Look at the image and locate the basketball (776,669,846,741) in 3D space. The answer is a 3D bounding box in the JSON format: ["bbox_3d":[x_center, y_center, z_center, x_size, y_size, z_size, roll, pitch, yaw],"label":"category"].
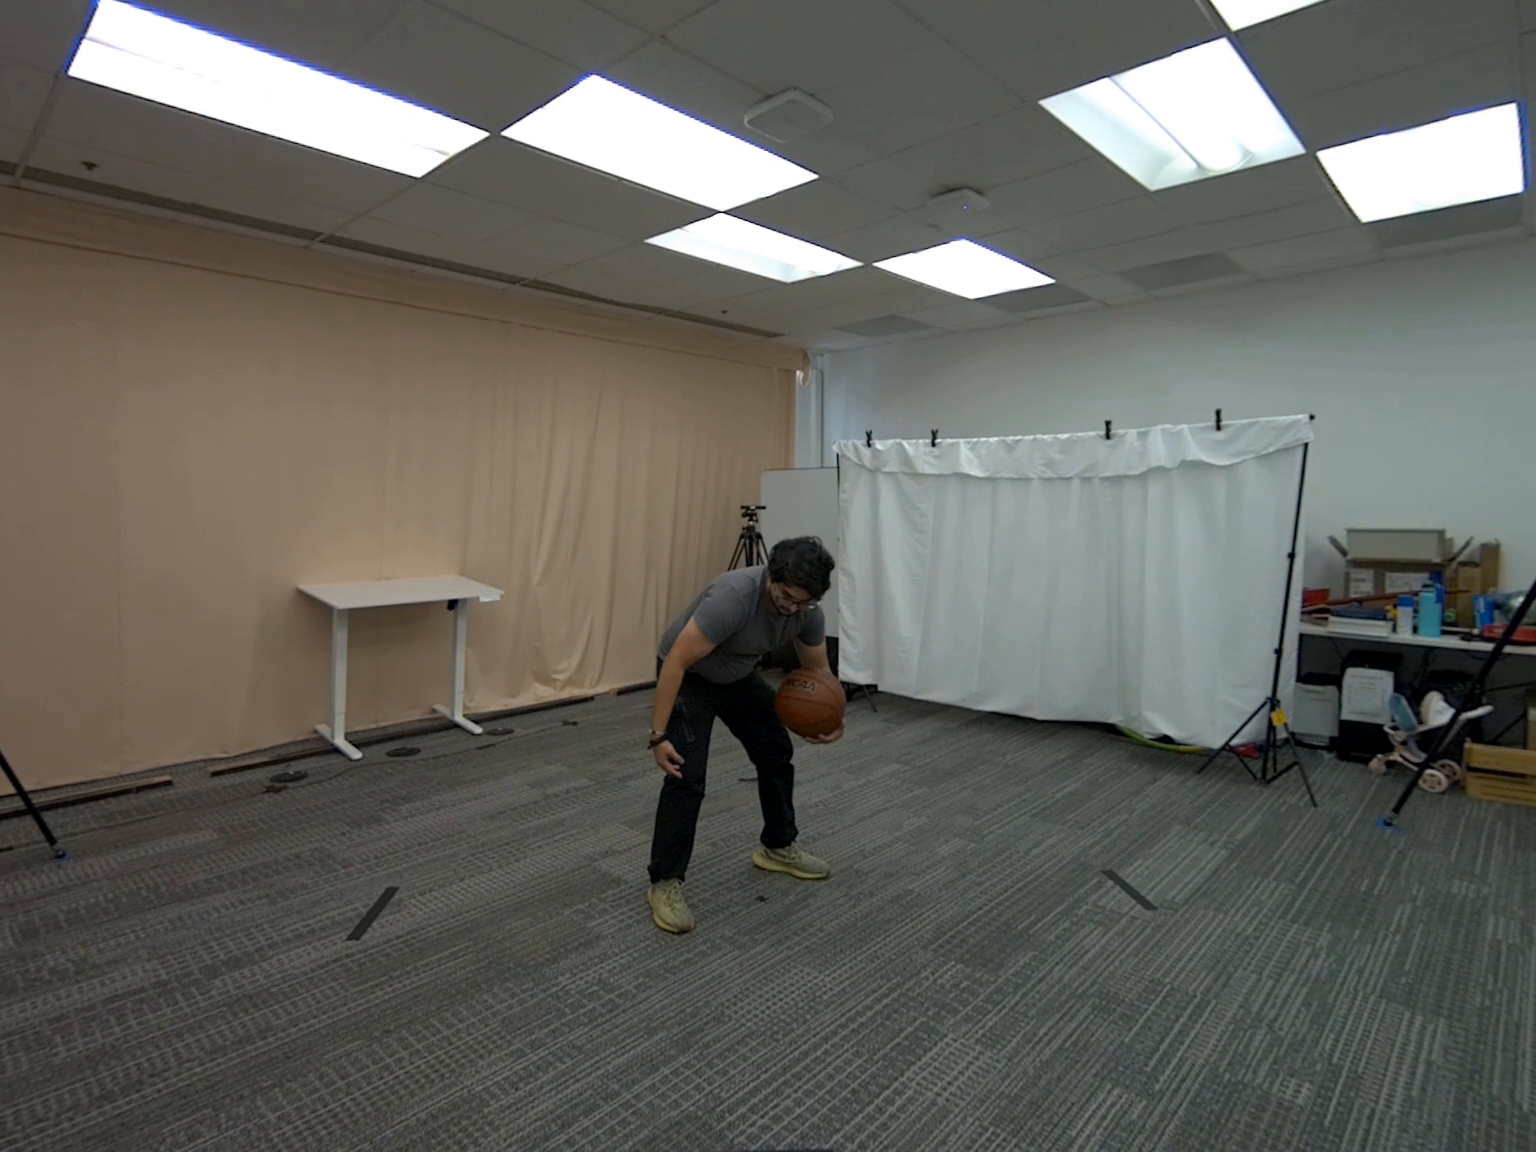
[{"bbox_3d":[0.151,0.429,2.883,0.236,0.235,0.237,0,4,-2],"label":"basketball"}]
